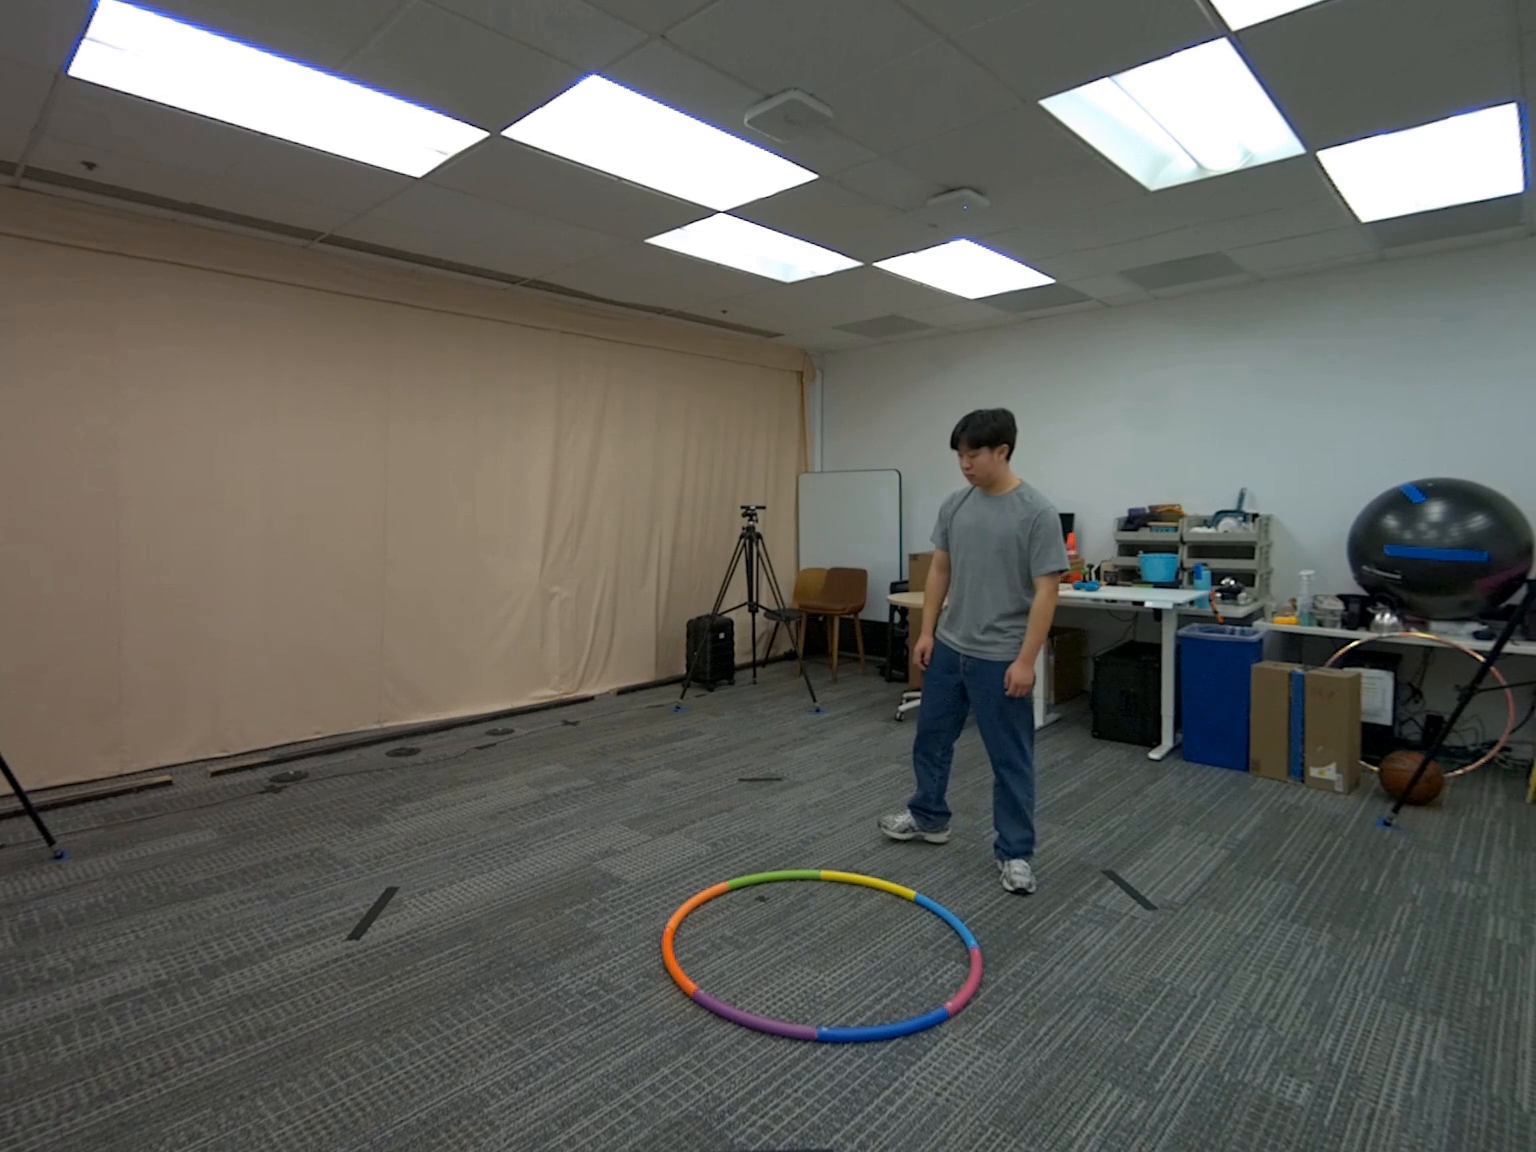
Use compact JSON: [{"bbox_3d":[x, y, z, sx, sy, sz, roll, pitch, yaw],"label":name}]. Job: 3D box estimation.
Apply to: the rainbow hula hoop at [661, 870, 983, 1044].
[{"bbox_3d":[0.160,1.140,2.668,0.978,0.035,0.982,0,5,-2],"label":"rainbow hula hoop"}]
